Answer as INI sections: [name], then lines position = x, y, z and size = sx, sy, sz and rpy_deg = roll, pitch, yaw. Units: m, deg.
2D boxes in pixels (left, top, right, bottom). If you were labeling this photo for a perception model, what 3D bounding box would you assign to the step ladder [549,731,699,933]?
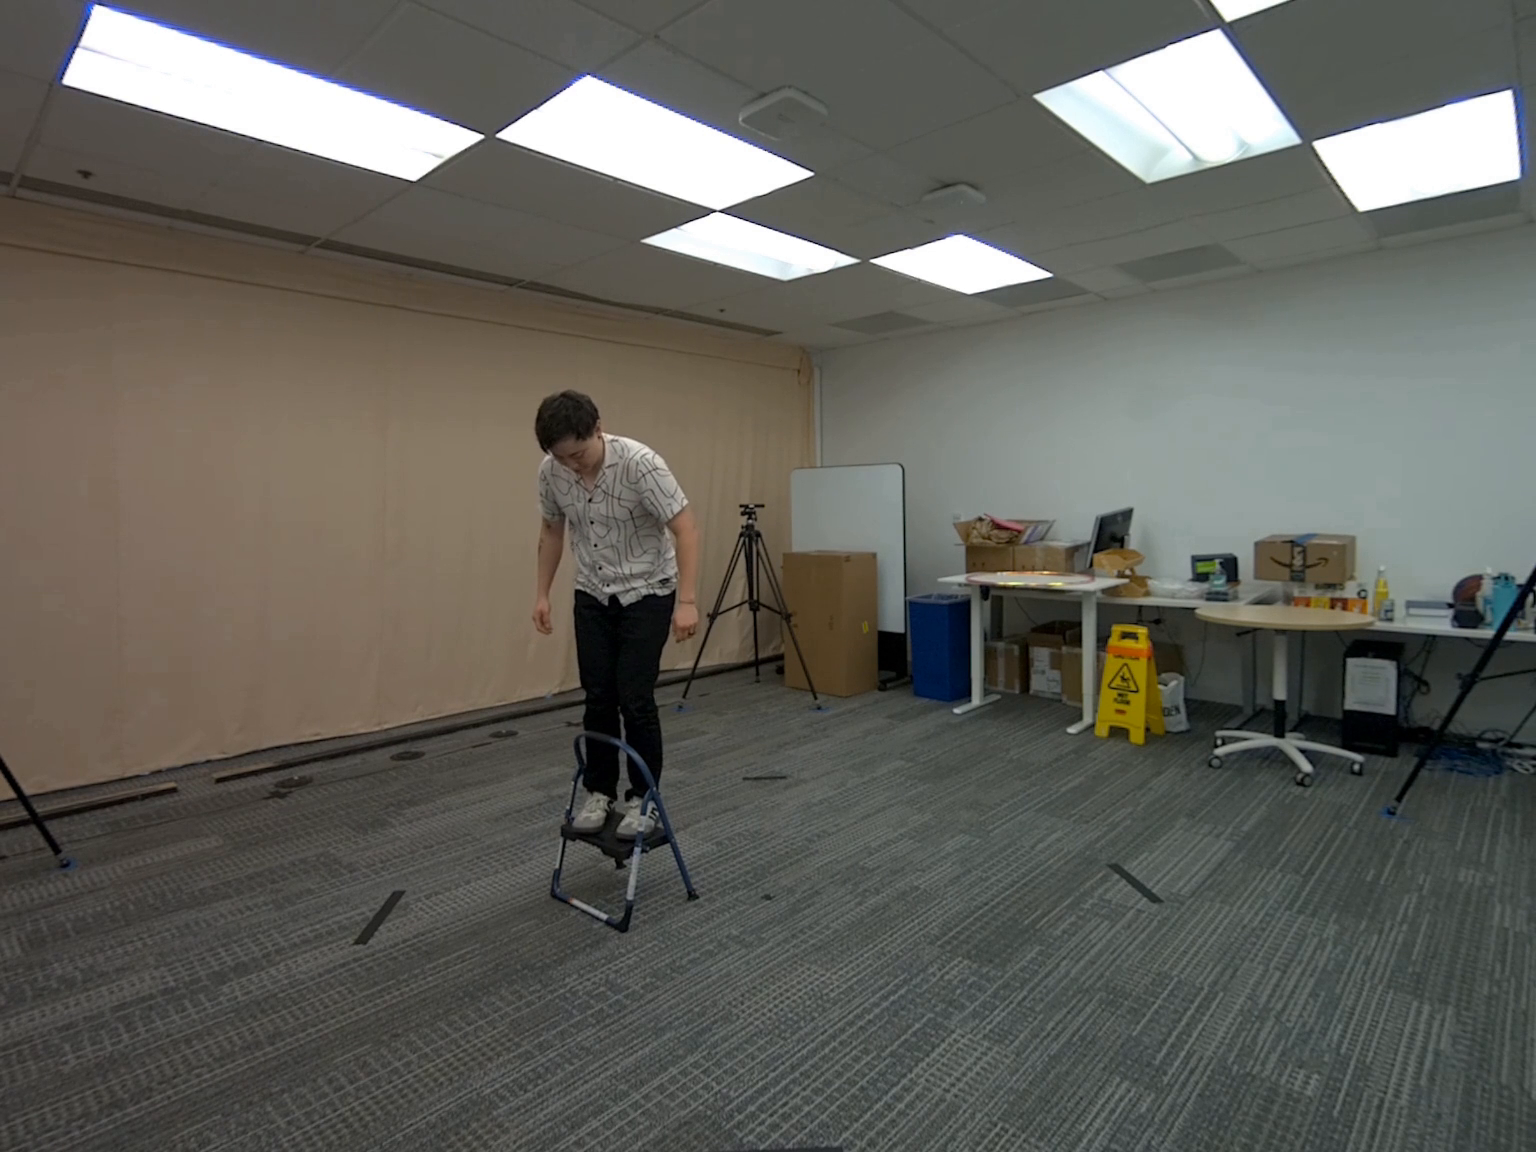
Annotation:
[step ladder]
position = -0.524, 0.847, 2.998
size = 0.445, 0.604, 0.339
rpy_deg = 2, 5, 41
